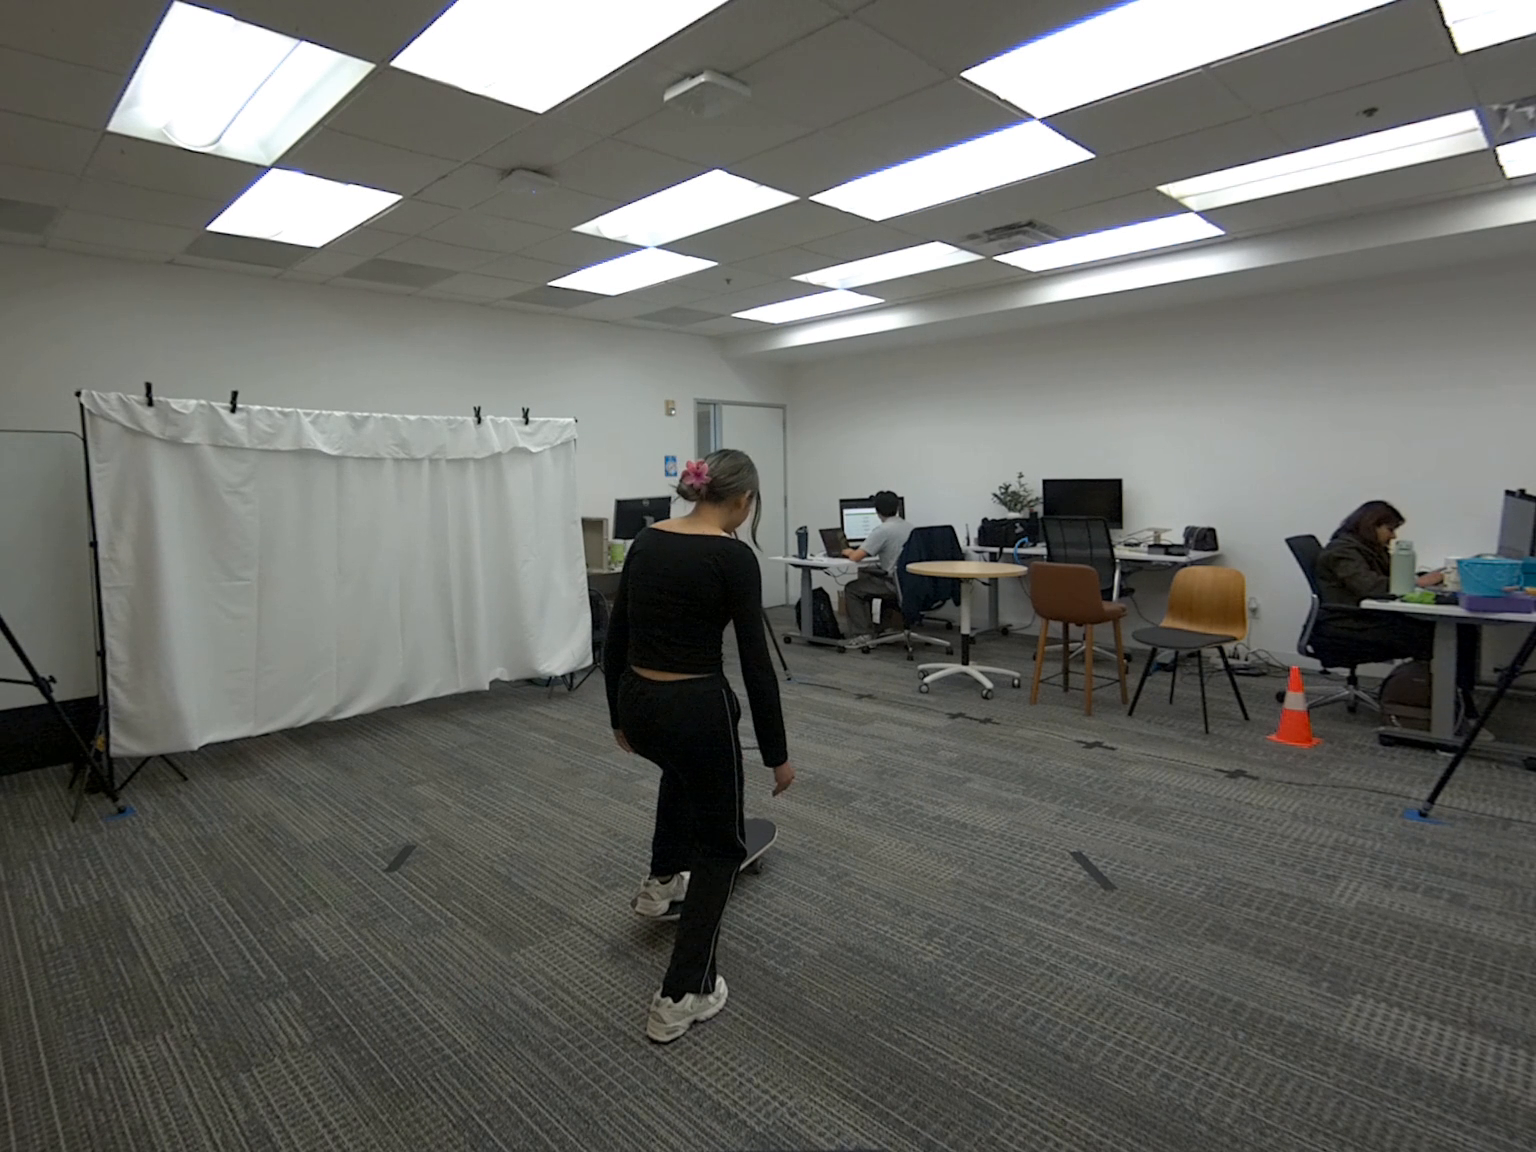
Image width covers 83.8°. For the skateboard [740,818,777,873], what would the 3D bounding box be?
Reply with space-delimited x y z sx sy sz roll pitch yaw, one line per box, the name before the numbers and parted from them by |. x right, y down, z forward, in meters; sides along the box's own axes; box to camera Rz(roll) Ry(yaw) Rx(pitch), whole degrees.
skateboard | -0.184 1.012 2.899 0.198 0.109 0.770 2 9 27
